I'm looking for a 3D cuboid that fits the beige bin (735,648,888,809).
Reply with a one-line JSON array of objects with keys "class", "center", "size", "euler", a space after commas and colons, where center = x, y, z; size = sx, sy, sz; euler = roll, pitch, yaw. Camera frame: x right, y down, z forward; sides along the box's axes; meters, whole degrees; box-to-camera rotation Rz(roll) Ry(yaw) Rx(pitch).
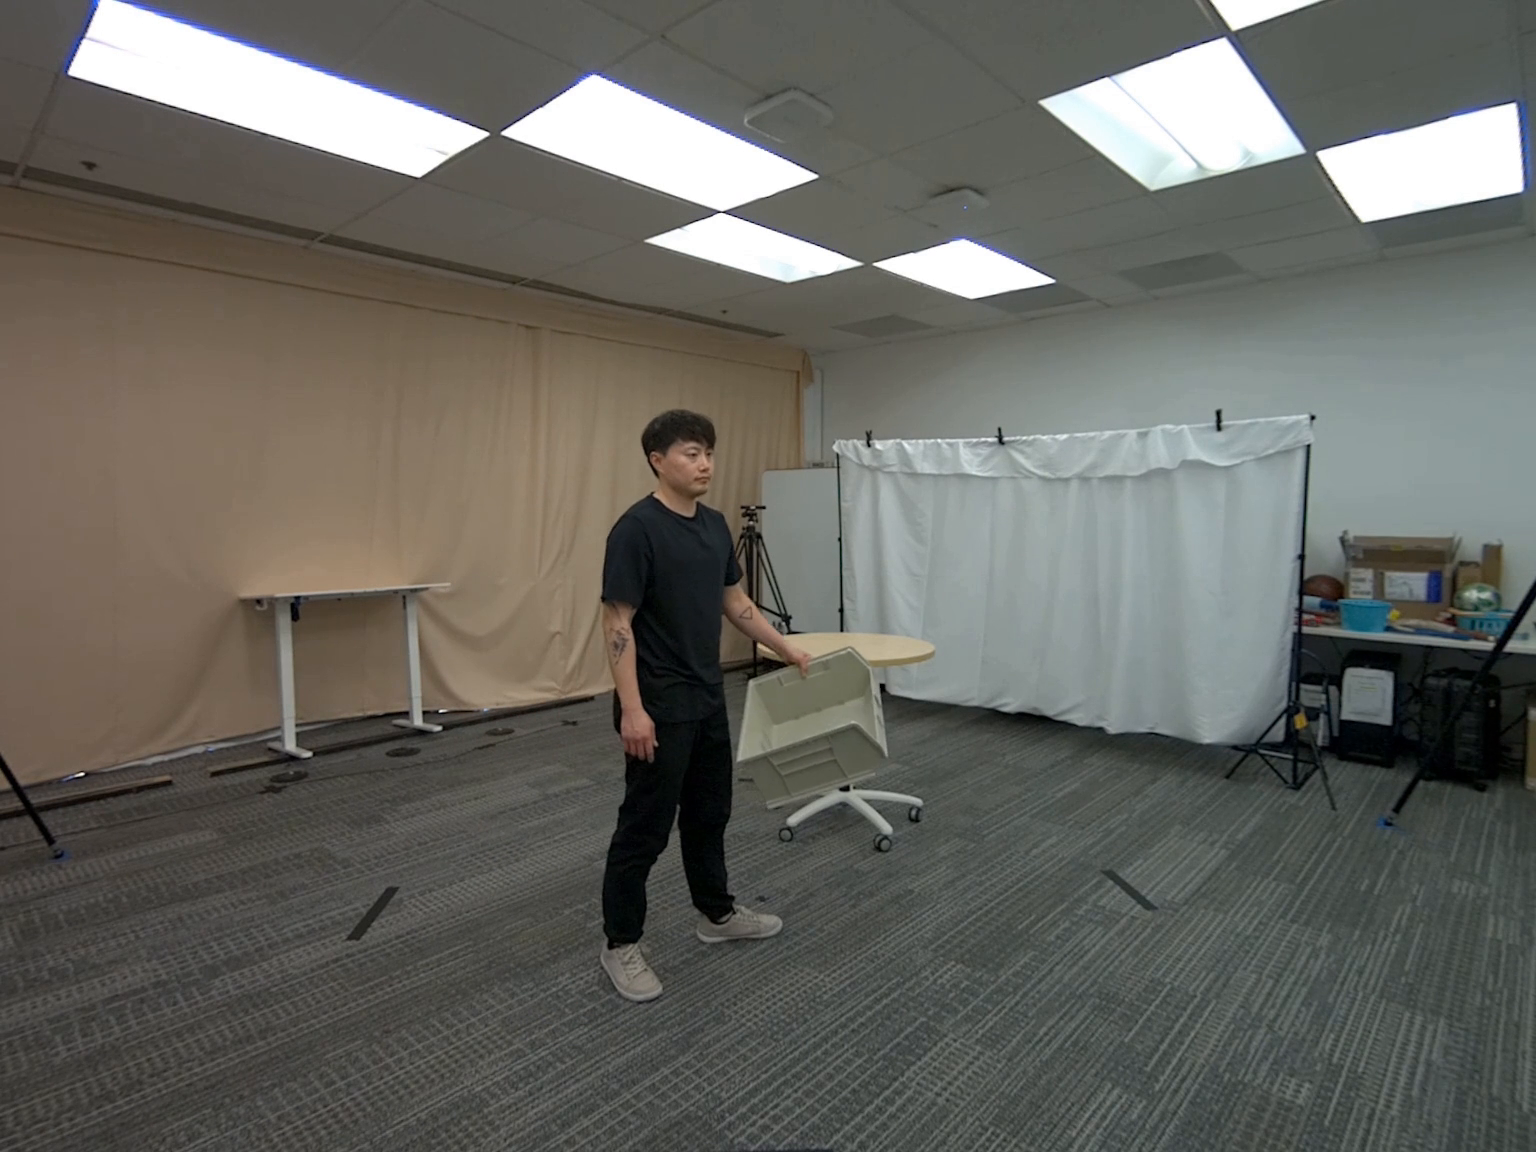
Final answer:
[{"class": "beige bin", "center": [0.151, 0.418, 2.427], "size": [0.381, 0.185, 0.426], "euler": [-22, 20, 12]}]
